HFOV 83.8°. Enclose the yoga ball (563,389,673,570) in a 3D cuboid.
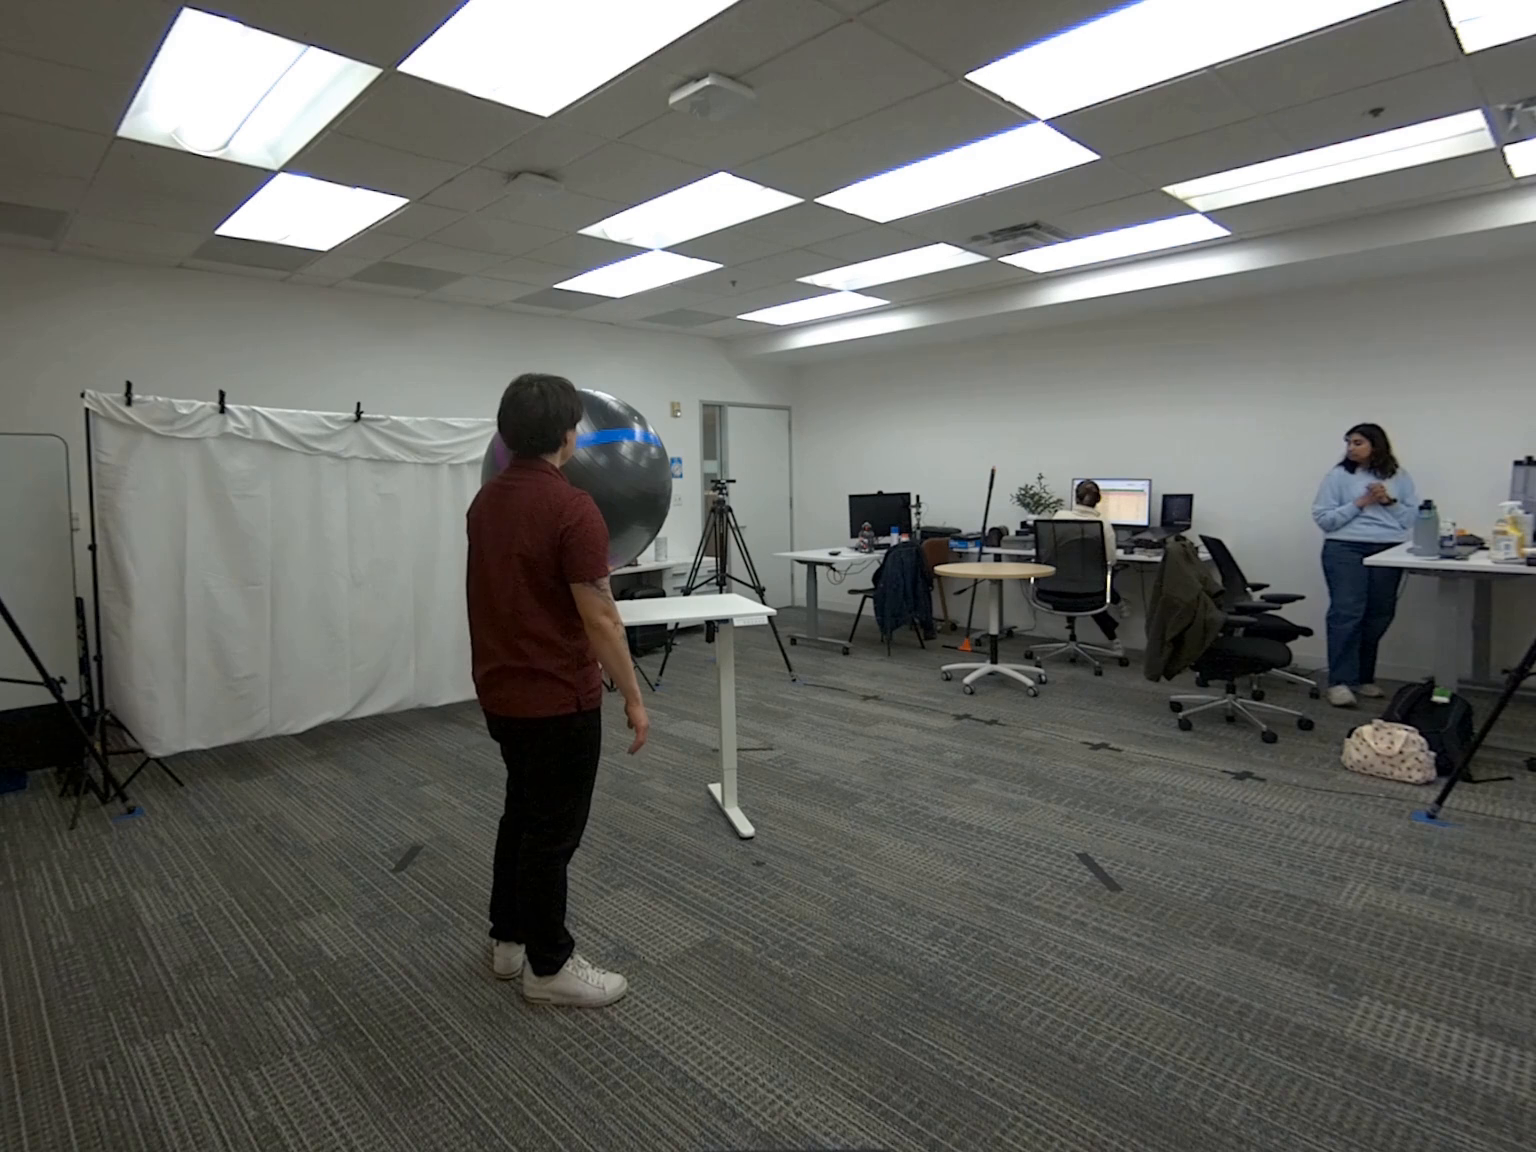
[{"bbox_3d":[-0.774,-0.361,3.458,0.757,0.755,0.762,-1,5,-2],"label":"yoga ball"}]
